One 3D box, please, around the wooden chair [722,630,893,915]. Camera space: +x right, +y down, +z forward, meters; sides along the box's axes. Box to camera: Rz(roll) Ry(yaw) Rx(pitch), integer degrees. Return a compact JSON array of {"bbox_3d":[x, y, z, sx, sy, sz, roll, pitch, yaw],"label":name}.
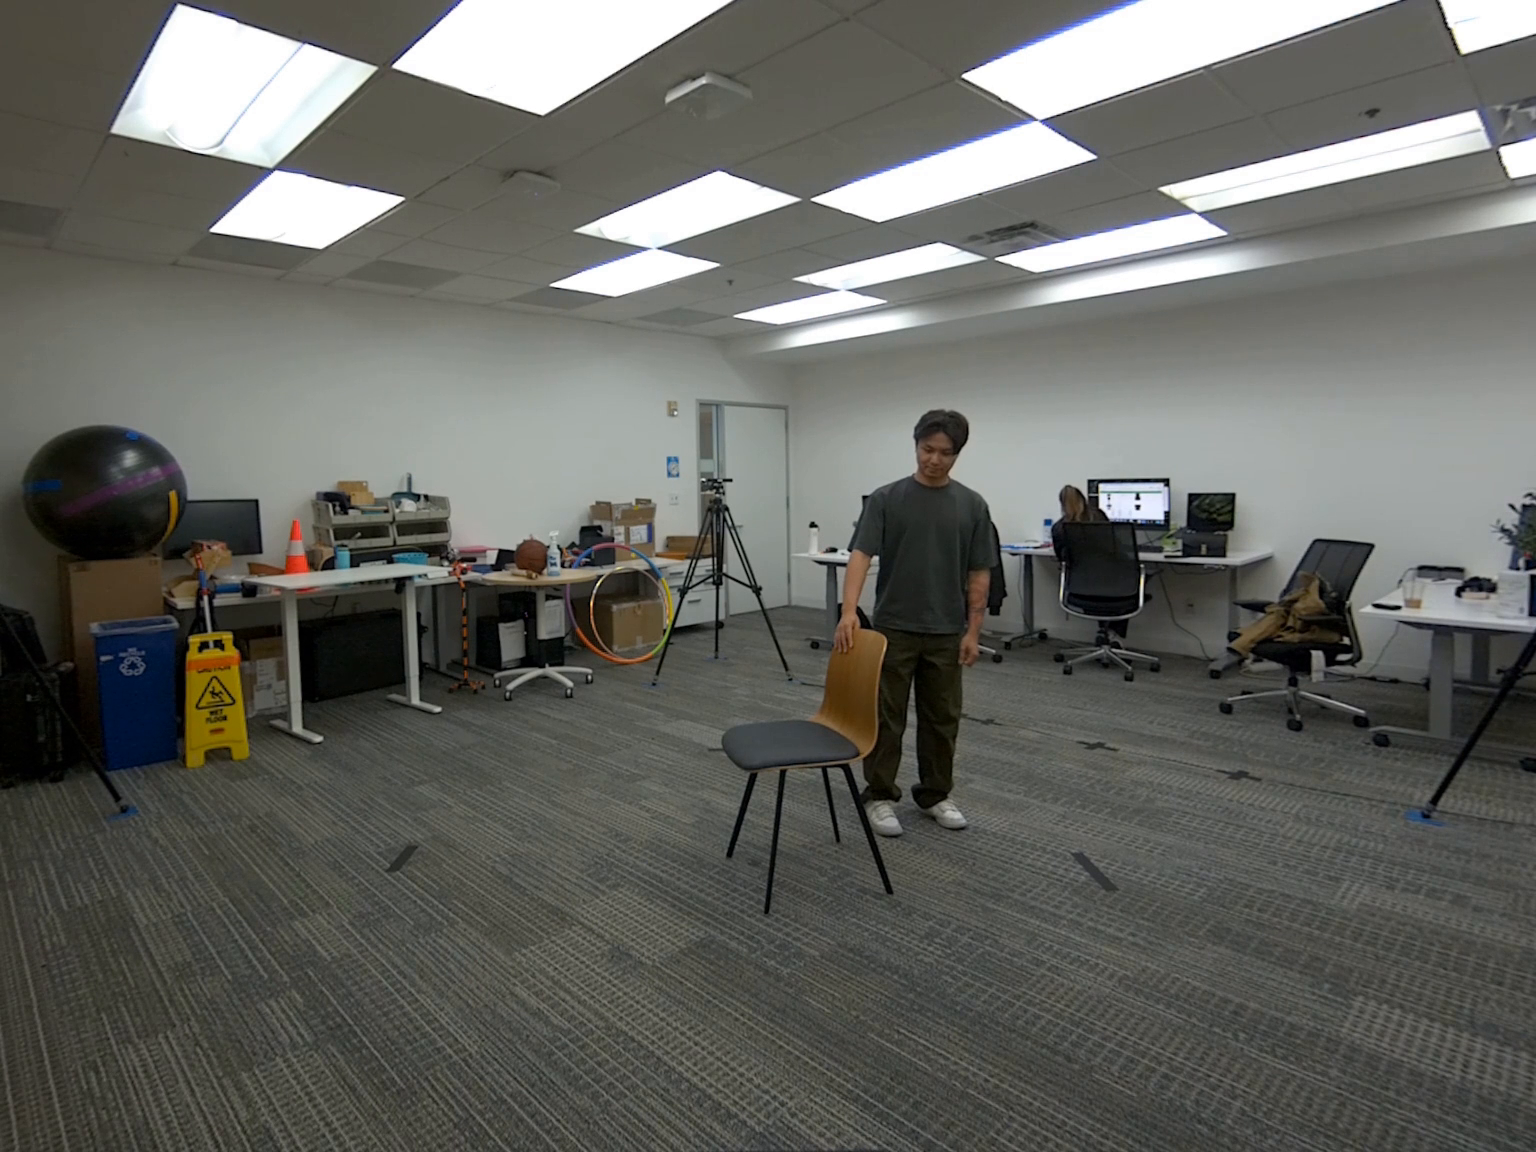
[{"bbox_3d":[0.121,0.628,2.977,0.514,0.875,0.487,2,4,-18],"label":"wooden chair"}]
